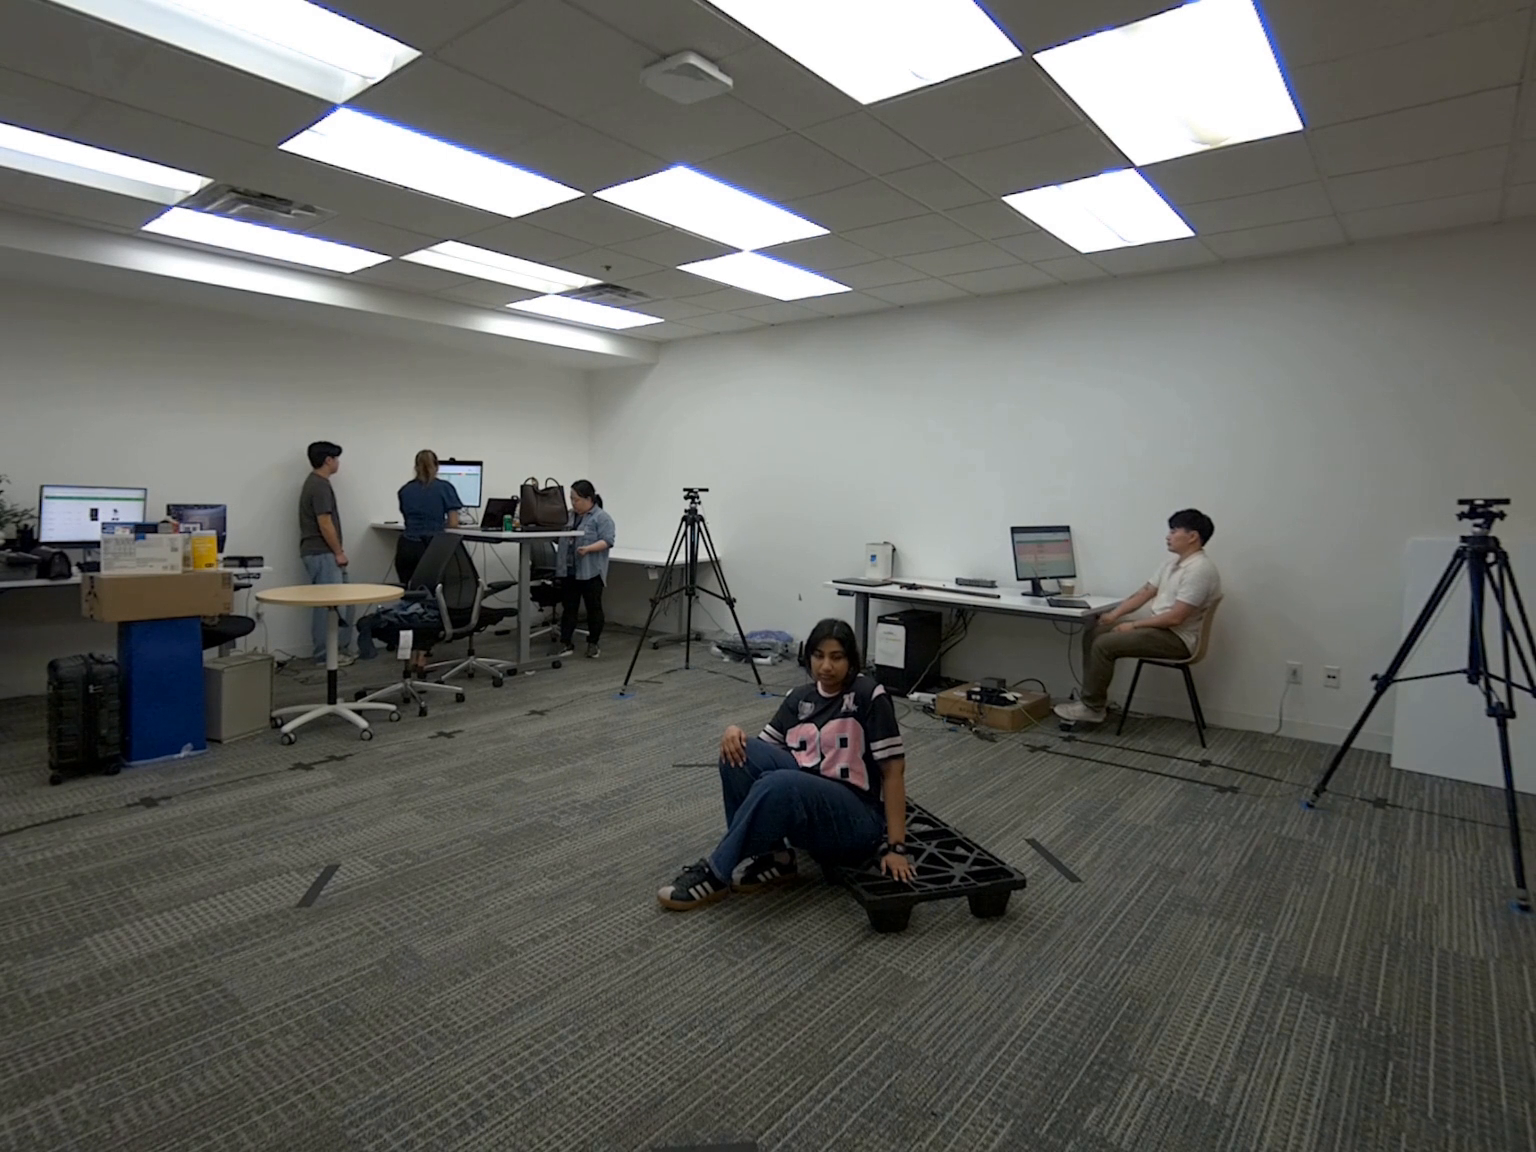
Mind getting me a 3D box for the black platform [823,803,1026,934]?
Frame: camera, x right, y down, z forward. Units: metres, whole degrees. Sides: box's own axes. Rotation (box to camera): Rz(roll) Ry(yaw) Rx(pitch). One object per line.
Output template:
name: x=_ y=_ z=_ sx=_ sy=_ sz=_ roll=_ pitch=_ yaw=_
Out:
black platform: x=0.430 y=1.017 z=3.085 sx=0.594 sy=0.143 sz=0.824 roll=-1 pitch=5 yaw=-20
